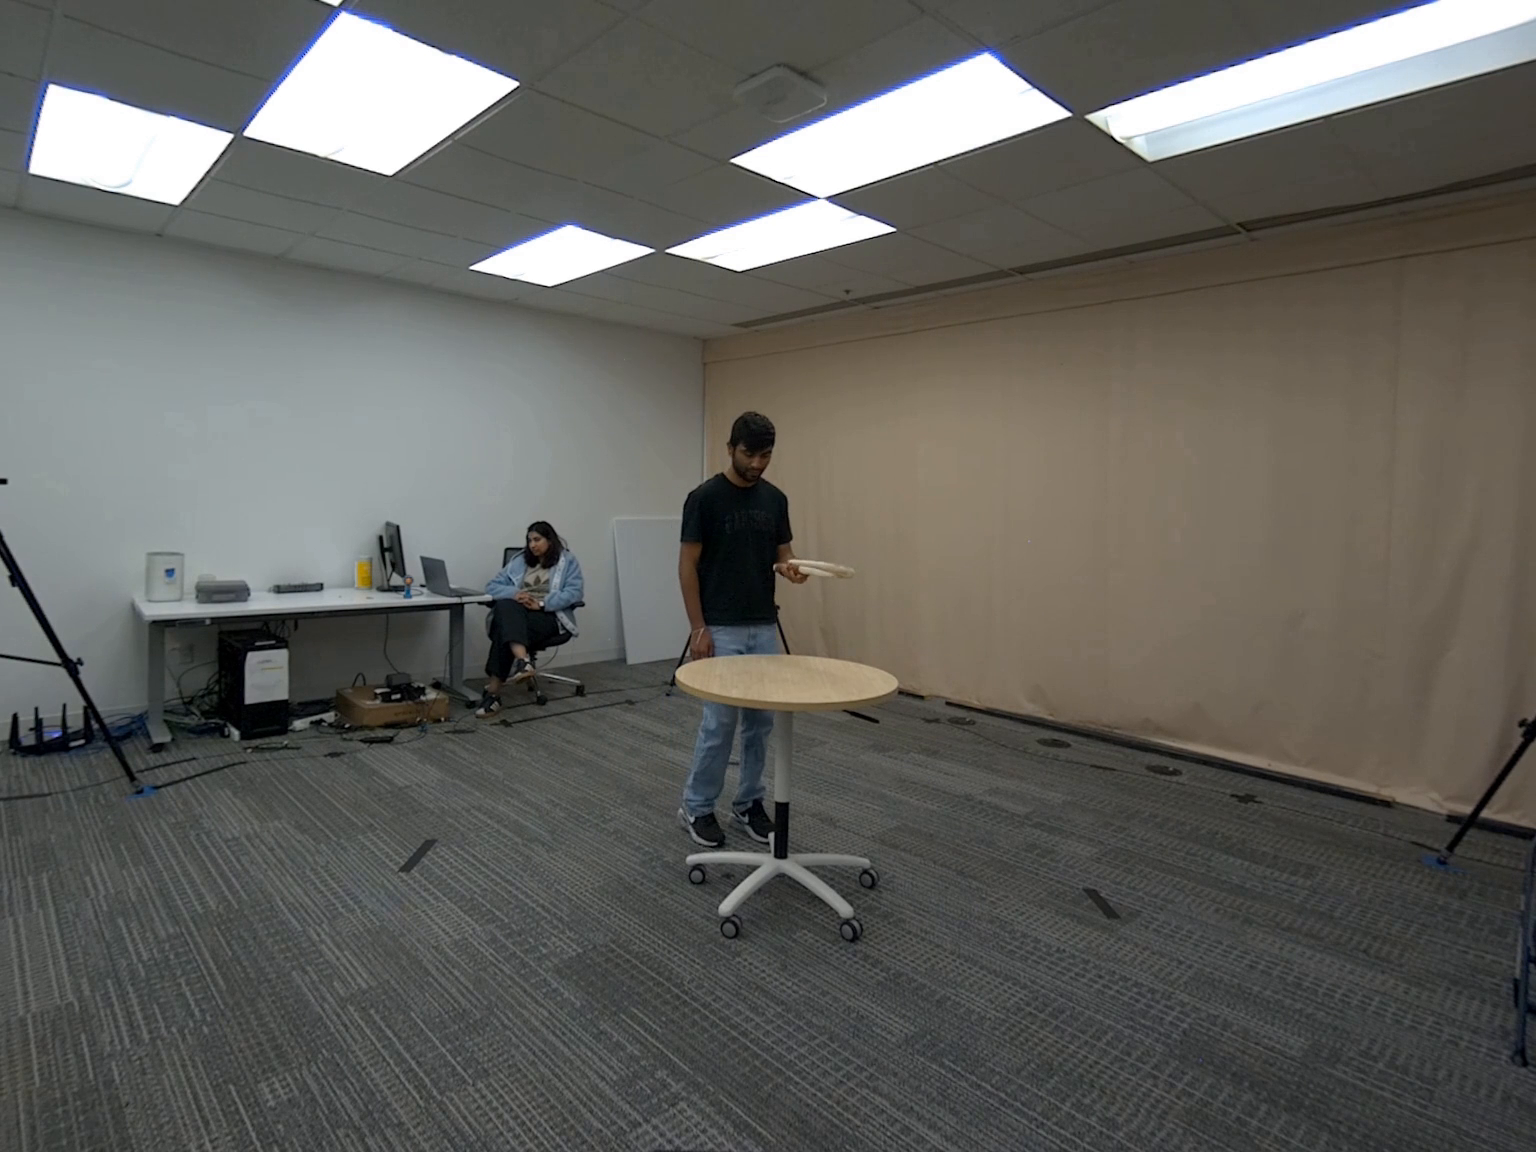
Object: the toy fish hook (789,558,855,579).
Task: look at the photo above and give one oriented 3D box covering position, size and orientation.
[{"bbox_3d":[0.101,-0.024,3.051,0.219,0.048,0.517,19,-9,-32],"label":"toy fish hook"}]
